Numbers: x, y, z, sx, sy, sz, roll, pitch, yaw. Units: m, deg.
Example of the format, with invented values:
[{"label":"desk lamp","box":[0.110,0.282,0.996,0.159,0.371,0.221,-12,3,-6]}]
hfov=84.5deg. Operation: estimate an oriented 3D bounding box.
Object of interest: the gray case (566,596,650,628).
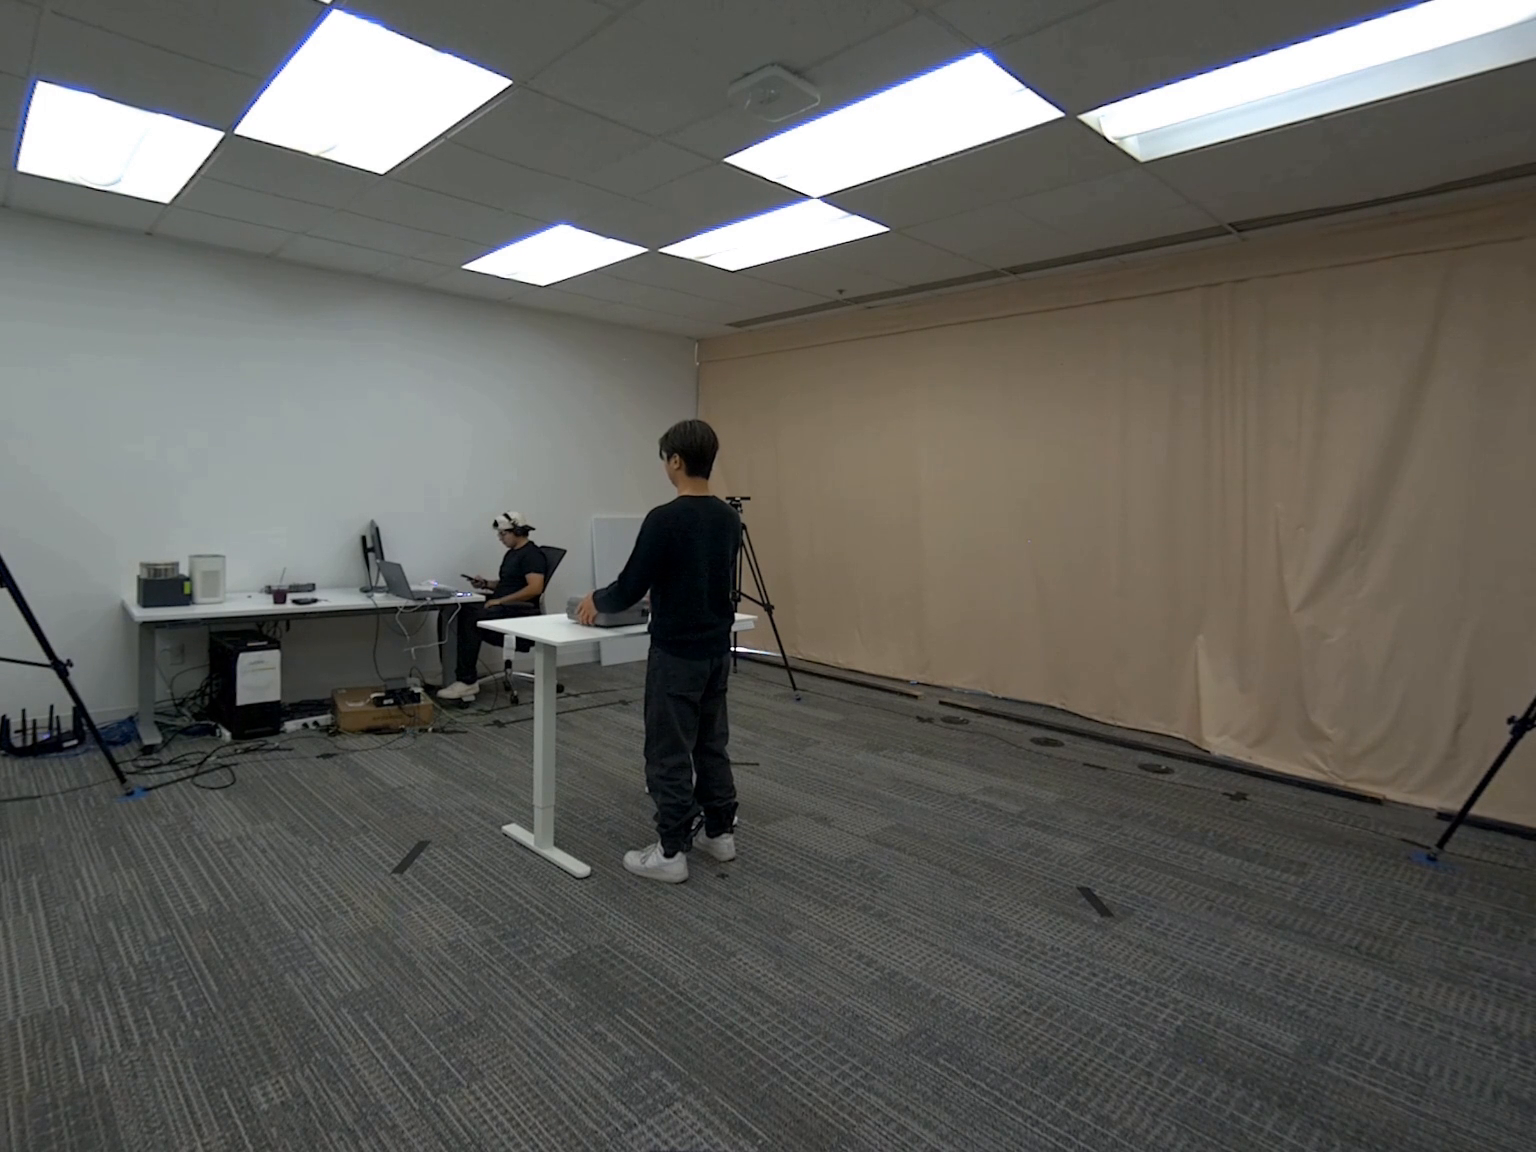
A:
[{"label":"gray case","box":[-0.646,0.127,3.377,0.267,0.104,0.251,6,6,40]}]
